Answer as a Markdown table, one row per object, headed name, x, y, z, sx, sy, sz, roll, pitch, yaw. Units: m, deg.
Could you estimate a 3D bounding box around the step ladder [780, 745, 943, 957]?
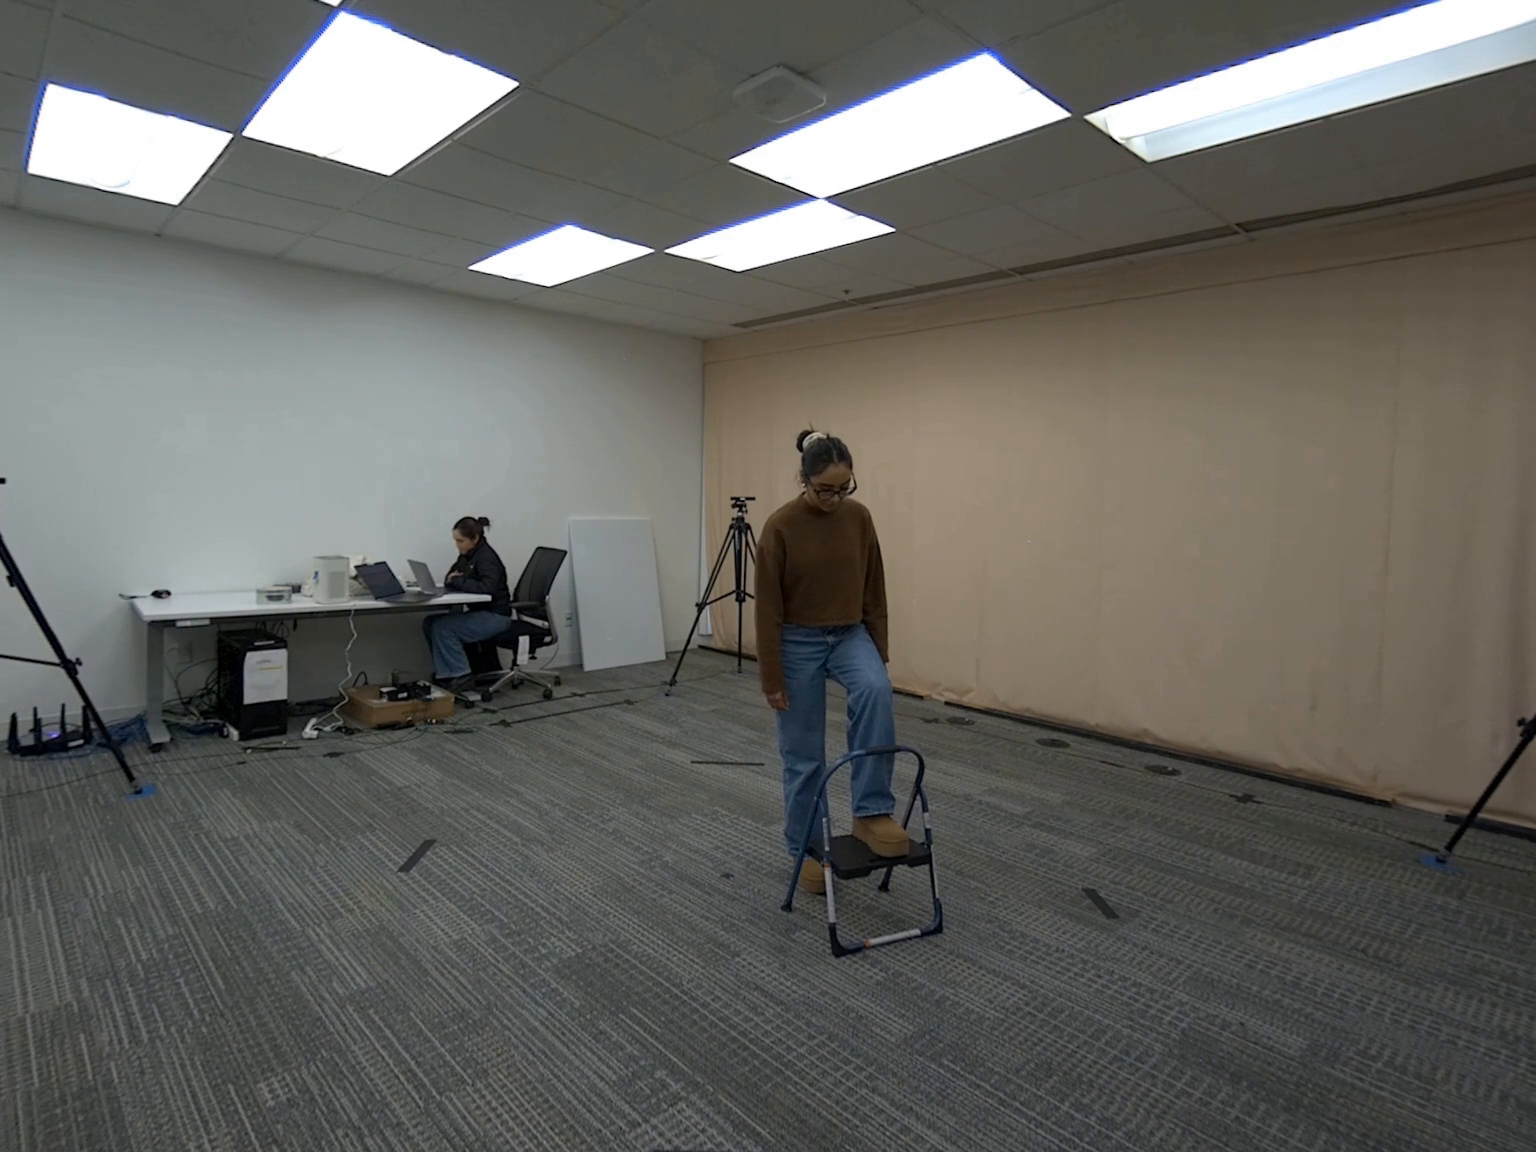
| name | x | y | z | sx | sy | sz | roll | pitch | yaw |
| --- | --- | --- | --- | --- | --- | --- | --- | --- | --- |
| step ladder | 0.313 | 0.845 | 2.782 | 0.422 | 0.605 | 0.357 | 0 | 4 | -26 |
